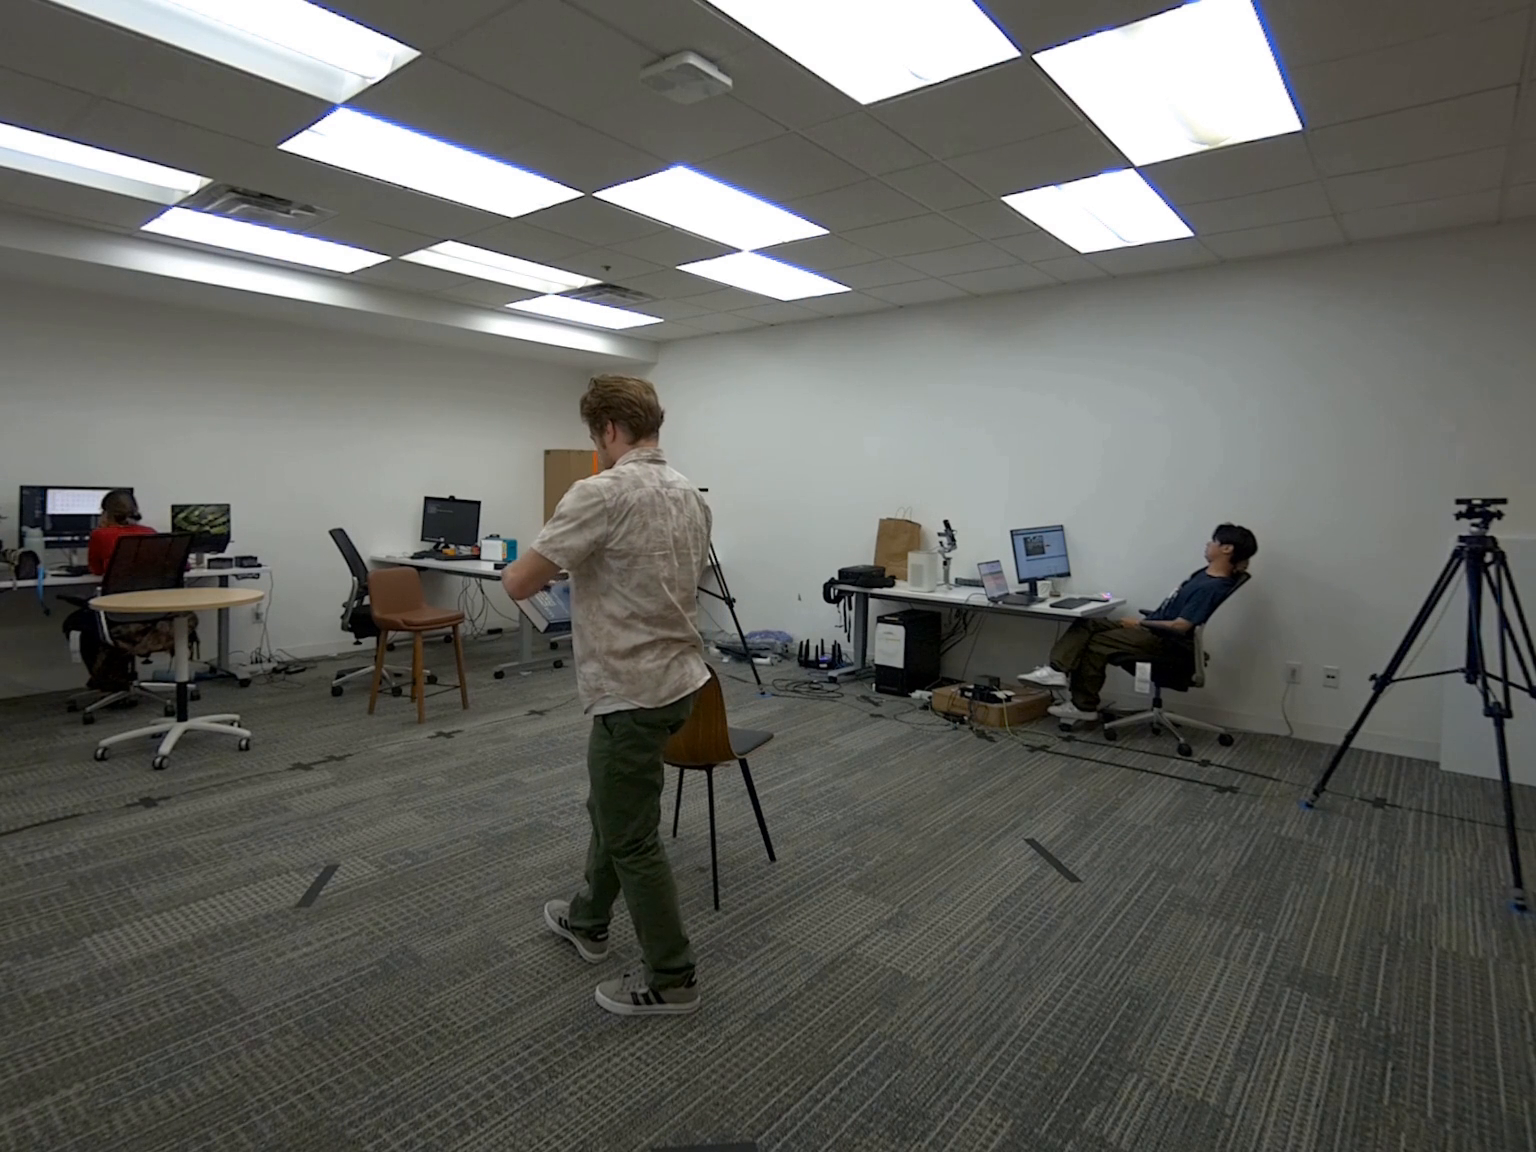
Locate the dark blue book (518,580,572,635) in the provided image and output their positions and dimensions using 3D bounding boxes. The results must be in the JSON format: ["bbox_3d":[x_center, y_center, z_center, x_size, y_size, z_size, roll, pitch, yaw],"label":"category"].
[{"bbox_3d":[-0.603,0.085,2.428,0.168,0.045,0.239,42,19,20],"label":"dark blue book"}]
